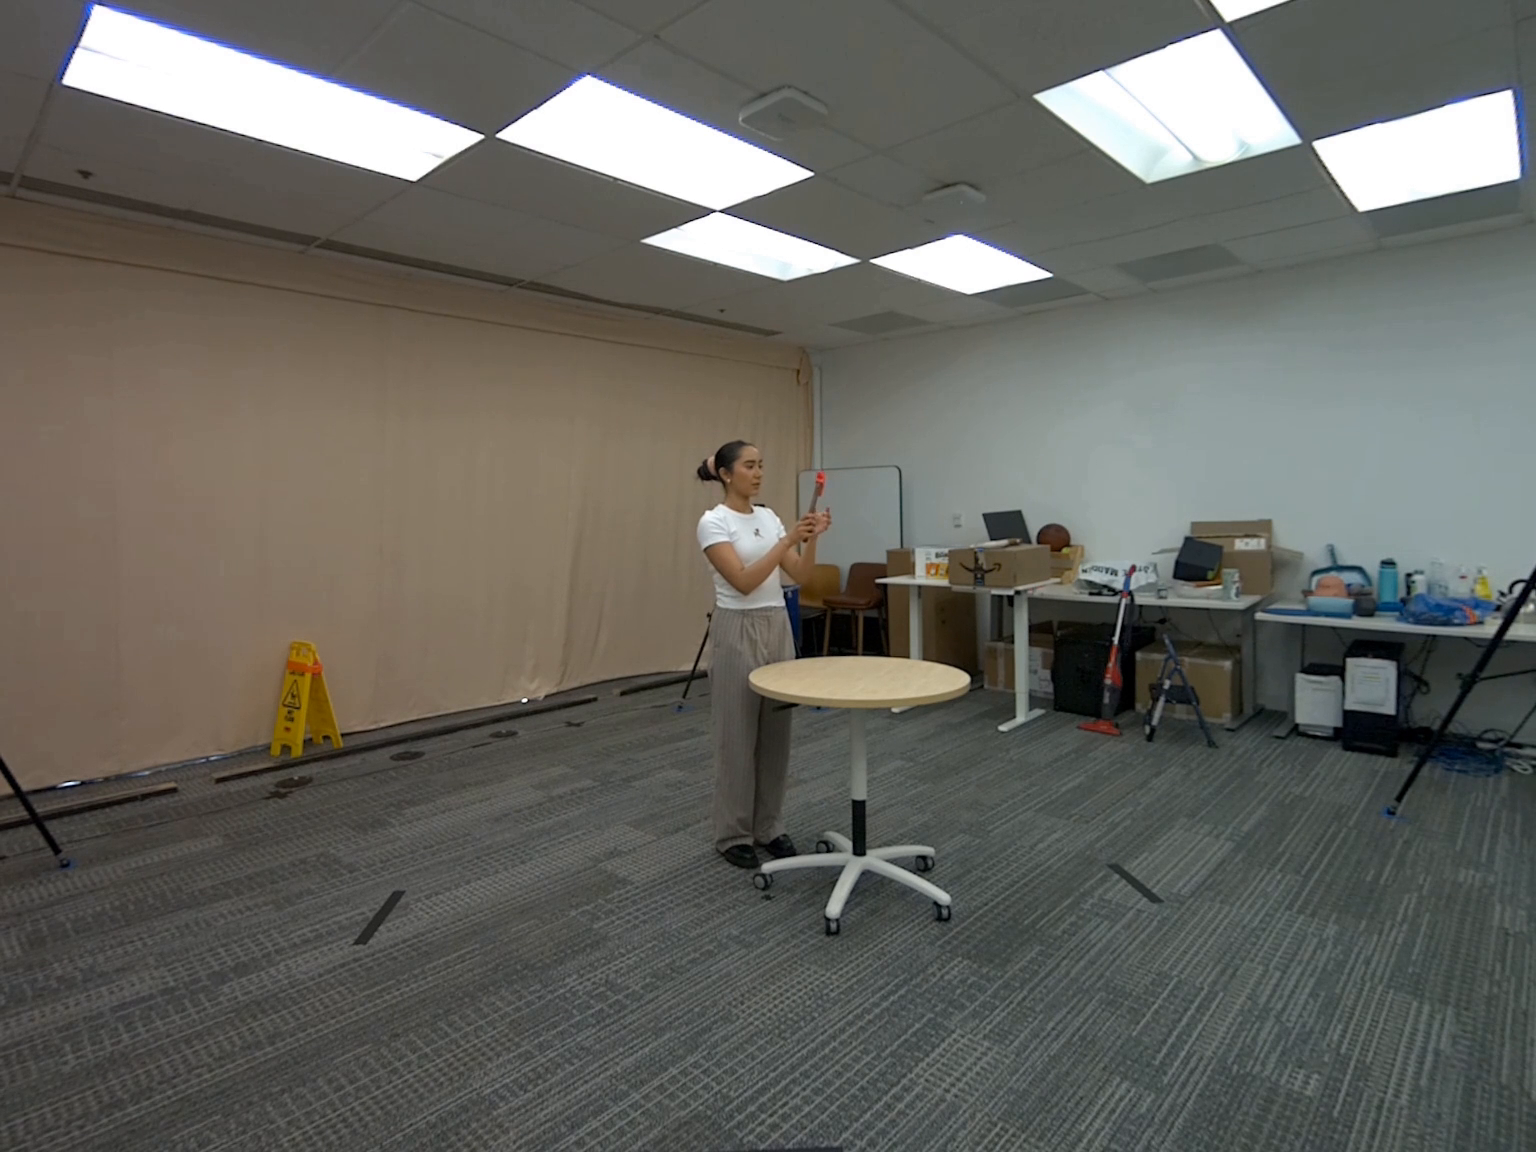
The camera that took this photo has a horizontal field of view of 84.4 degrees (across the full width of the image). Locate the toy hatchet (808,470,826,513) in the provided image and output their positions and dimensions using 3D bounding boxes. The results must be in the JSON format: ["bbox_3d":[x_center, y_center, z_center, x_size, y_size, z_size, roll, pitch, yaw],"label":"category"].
[{"bbox_3d":[0.178,-0.258,3.100,0.030,0.269,0.129,14,6,11],"label":"toy hatchet"}]
